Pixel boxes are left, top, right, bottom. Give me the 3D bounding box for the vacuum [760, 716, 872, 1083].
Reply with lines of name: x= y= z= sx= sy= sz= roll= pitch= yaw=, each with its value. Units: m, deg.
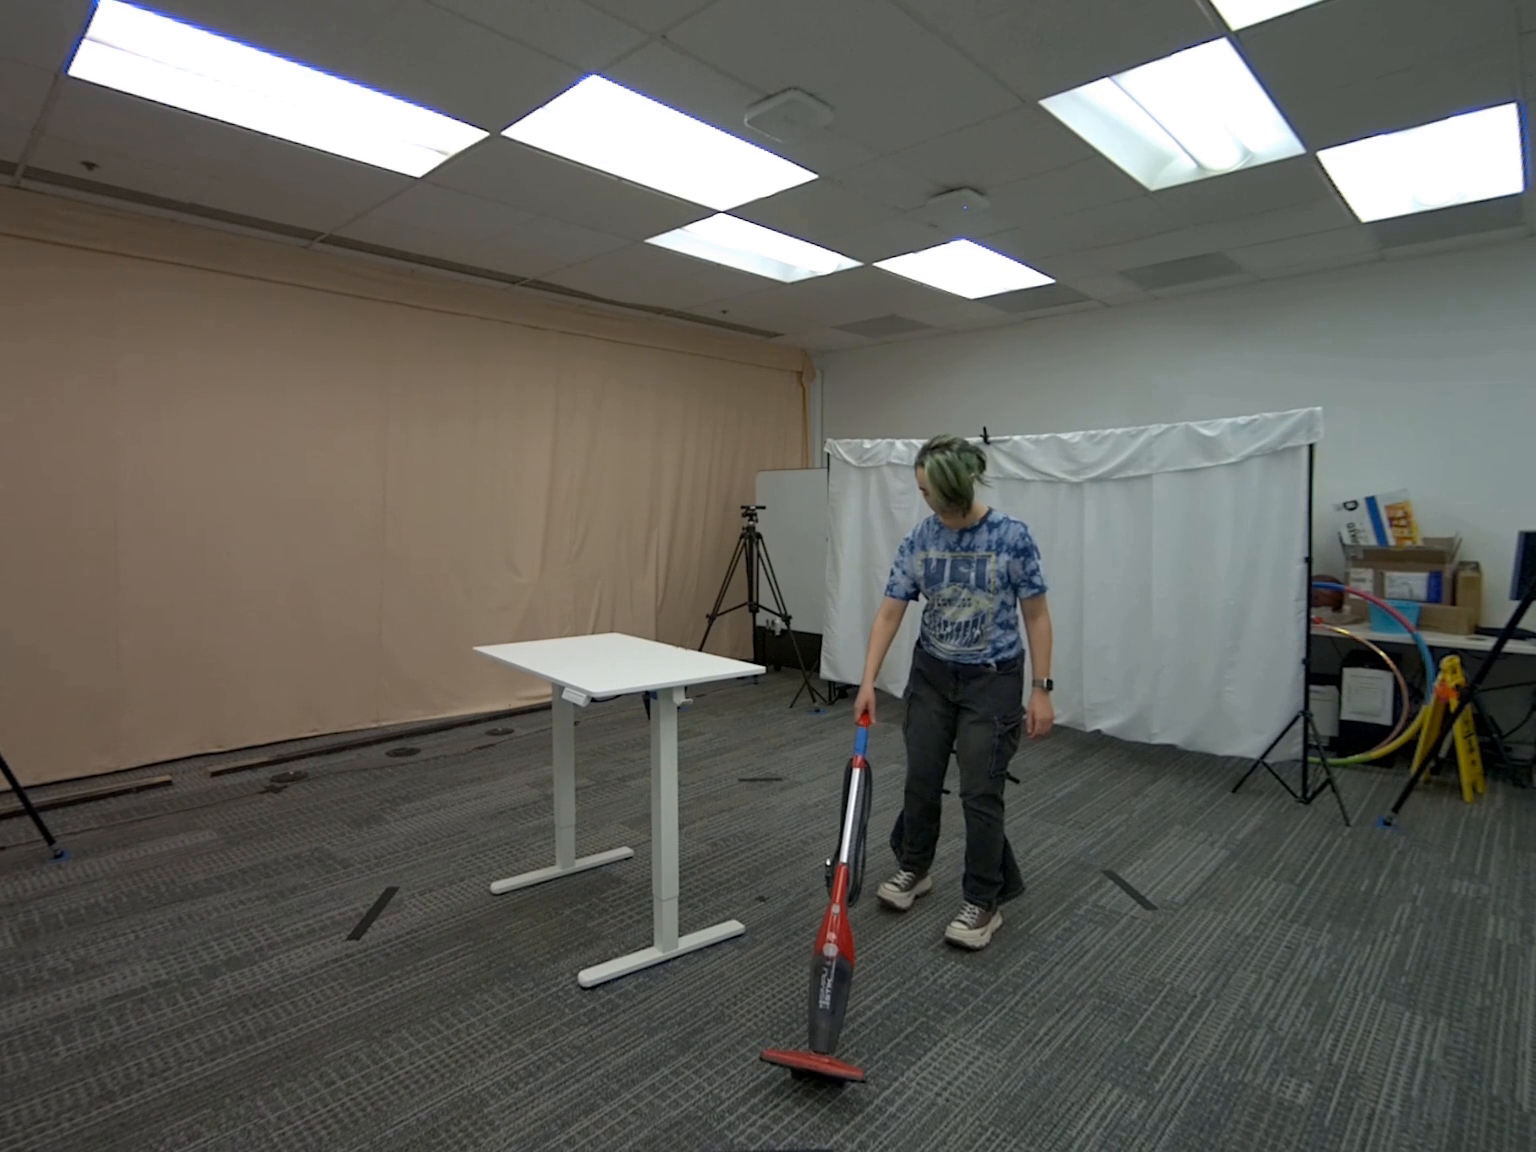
vacuum: x=0.228 y=0.832 z=2.351 sx=0.257 sy=0.140 sz=1.056 roll=2 pitch=45 yaw=16
